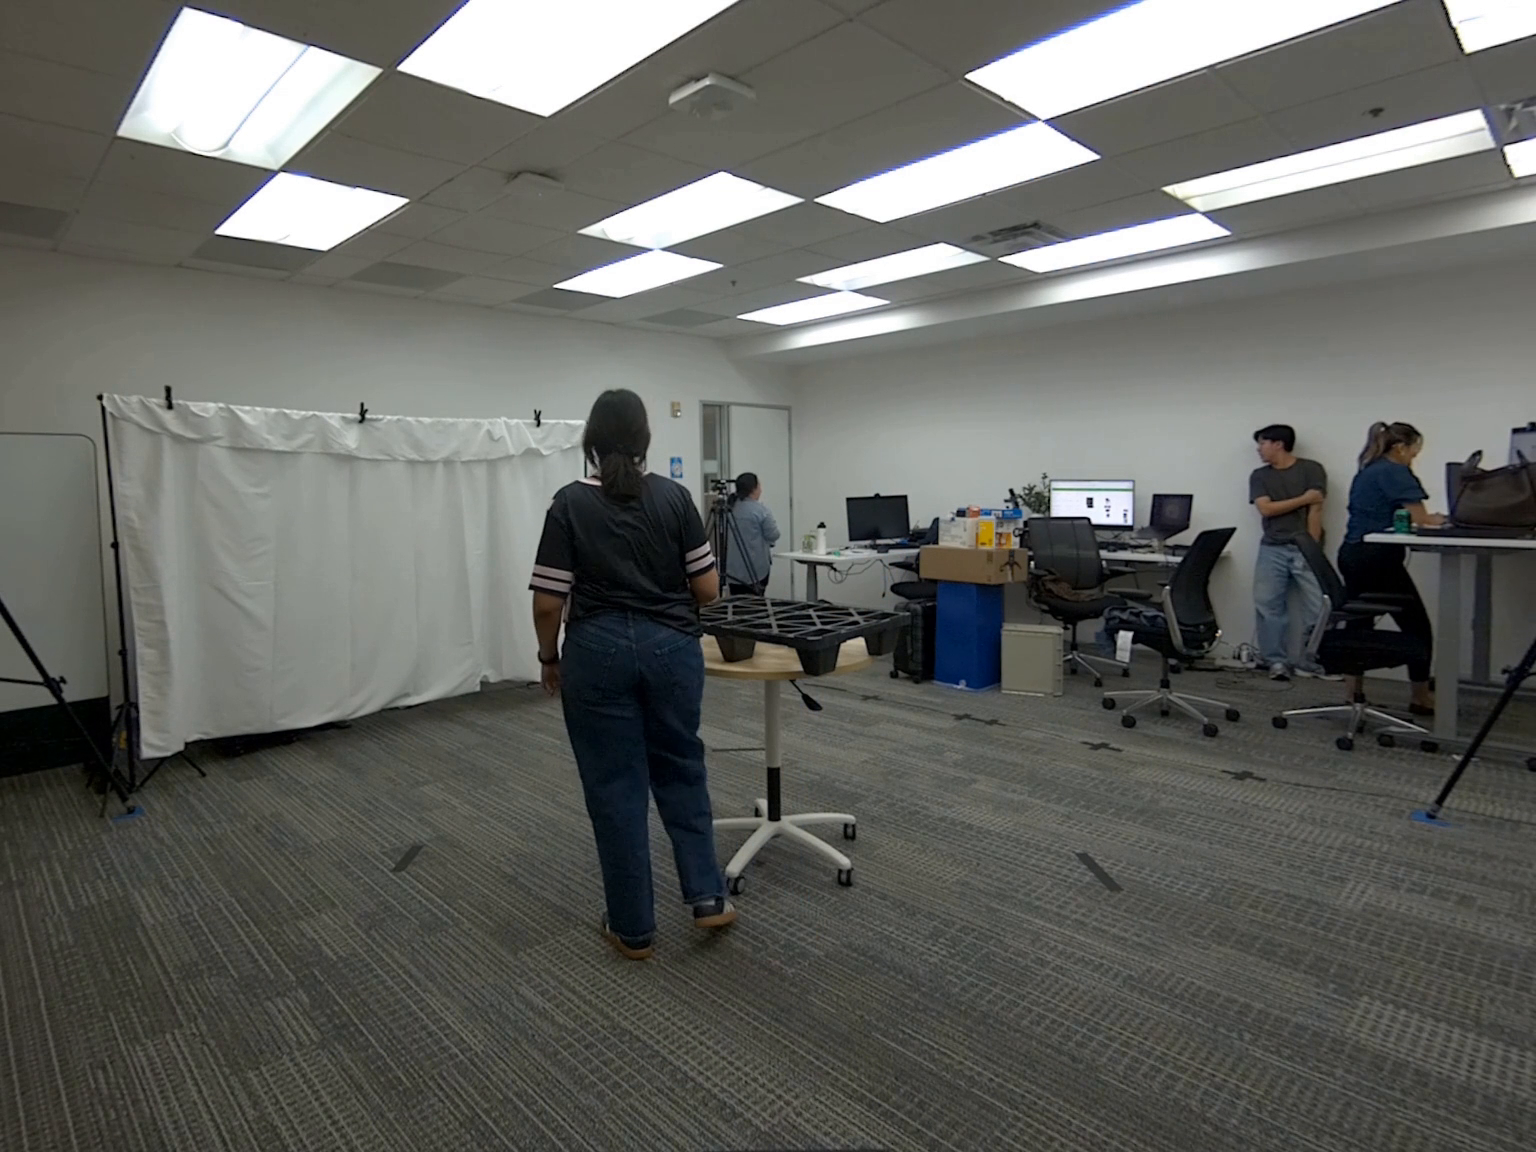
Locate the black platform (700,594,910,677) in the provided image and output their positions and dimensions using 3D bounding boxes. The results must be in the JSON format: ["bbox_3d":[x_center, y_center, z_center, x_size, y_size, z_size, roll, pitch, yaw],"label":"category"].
[{"bbox_3d":[0.016,0.204,3.056,0.830,0.142,0.590,5,9,41],"label":"black platform"}]
